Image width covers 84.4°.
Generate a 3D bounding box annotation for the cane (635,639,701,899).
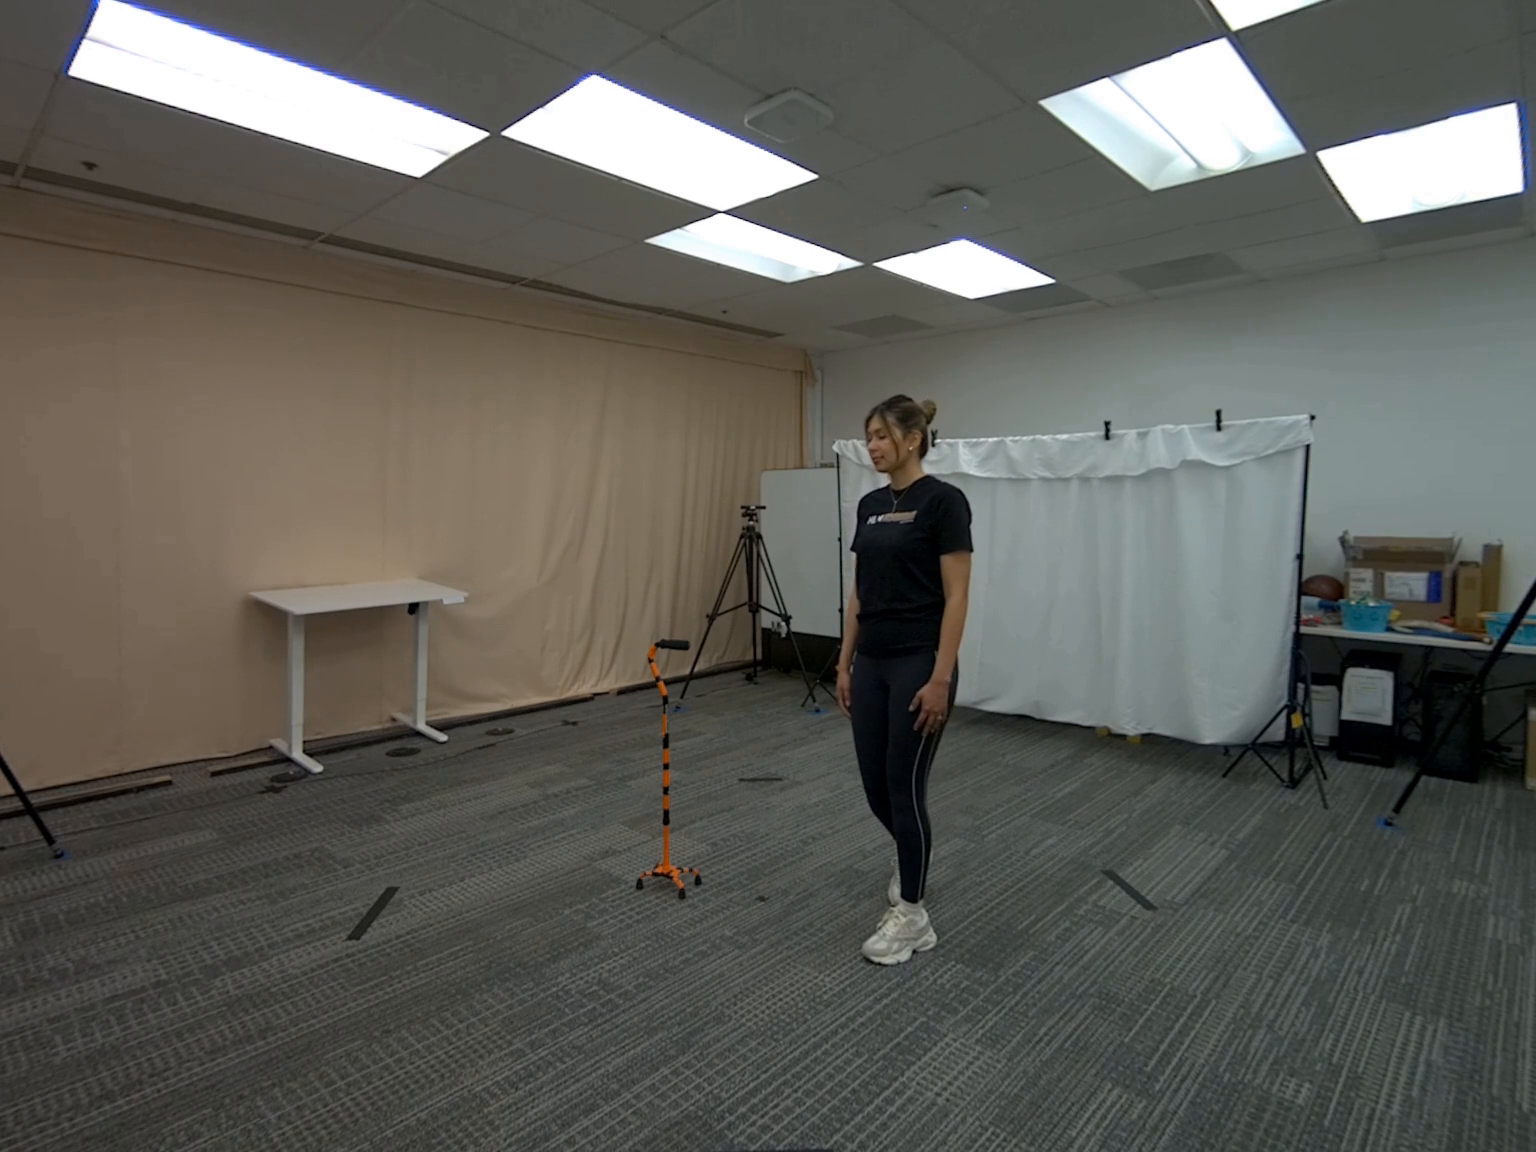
[{"bbox_3d":[-0.364,0.682,3.068,0.211,0.906,0.148,0,3,23],"label":"cane"}]
